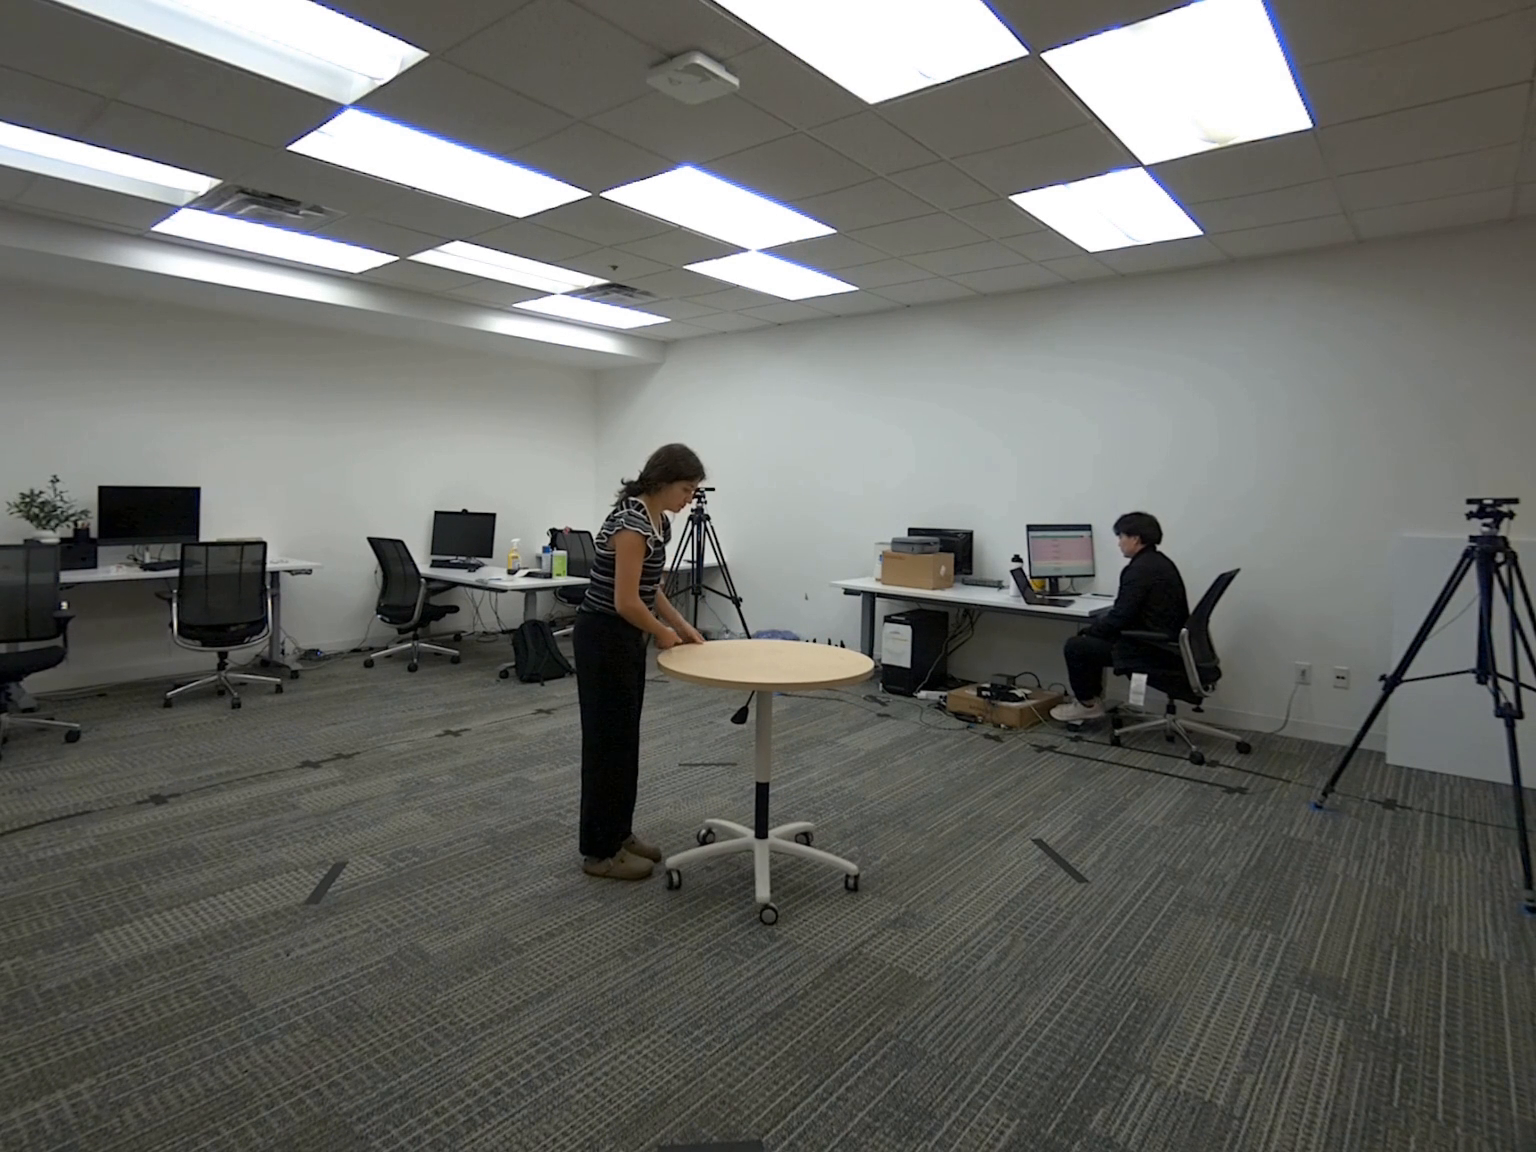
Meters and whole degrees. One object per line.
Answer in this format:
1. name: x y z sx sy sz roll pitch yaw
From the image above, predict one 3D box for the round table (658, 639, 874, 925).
1. round table: -0.026 0.682 3.056 0.784 0.783 0.789 1 5 -2
